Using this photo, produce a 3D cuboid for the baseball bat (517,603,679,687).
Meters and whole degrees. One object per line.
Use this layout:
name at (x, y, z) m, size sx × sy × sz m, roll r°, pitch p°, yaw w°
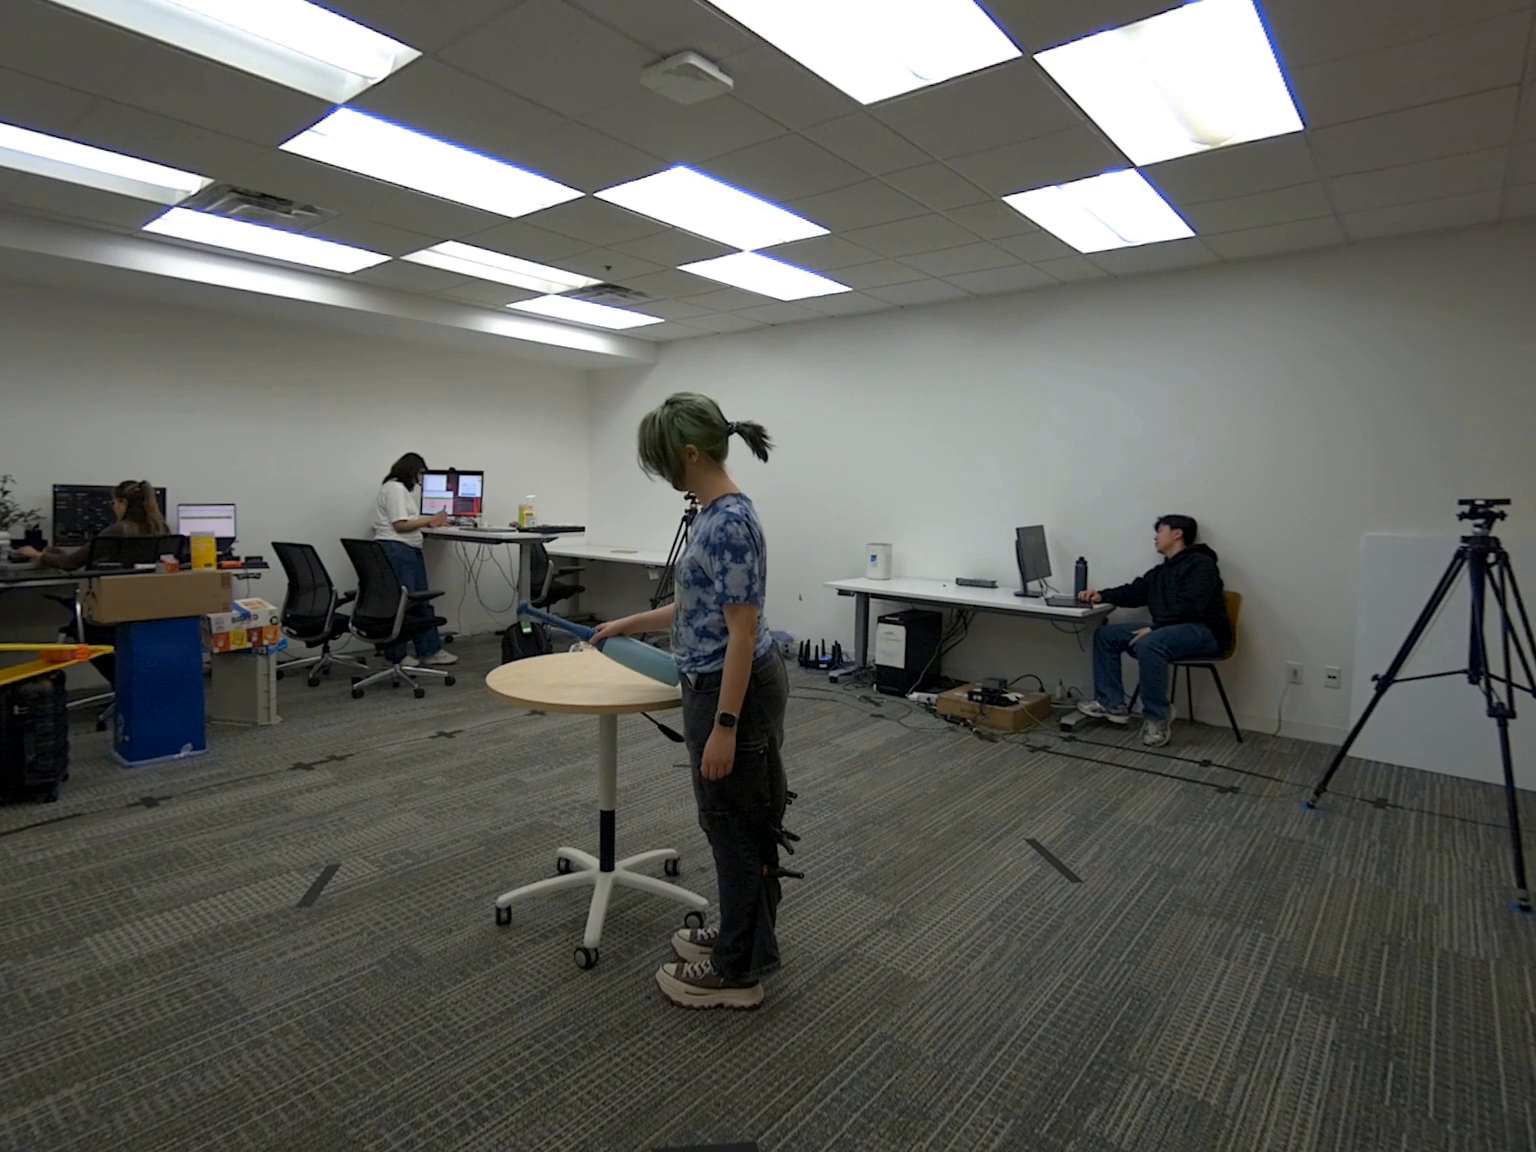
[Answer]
baseball bat at (-0.512, 0.201, 2.559) m, size 0.544 × 0.089 × 0.089 m, roll 21°, pitch 4°, yaw 2°
